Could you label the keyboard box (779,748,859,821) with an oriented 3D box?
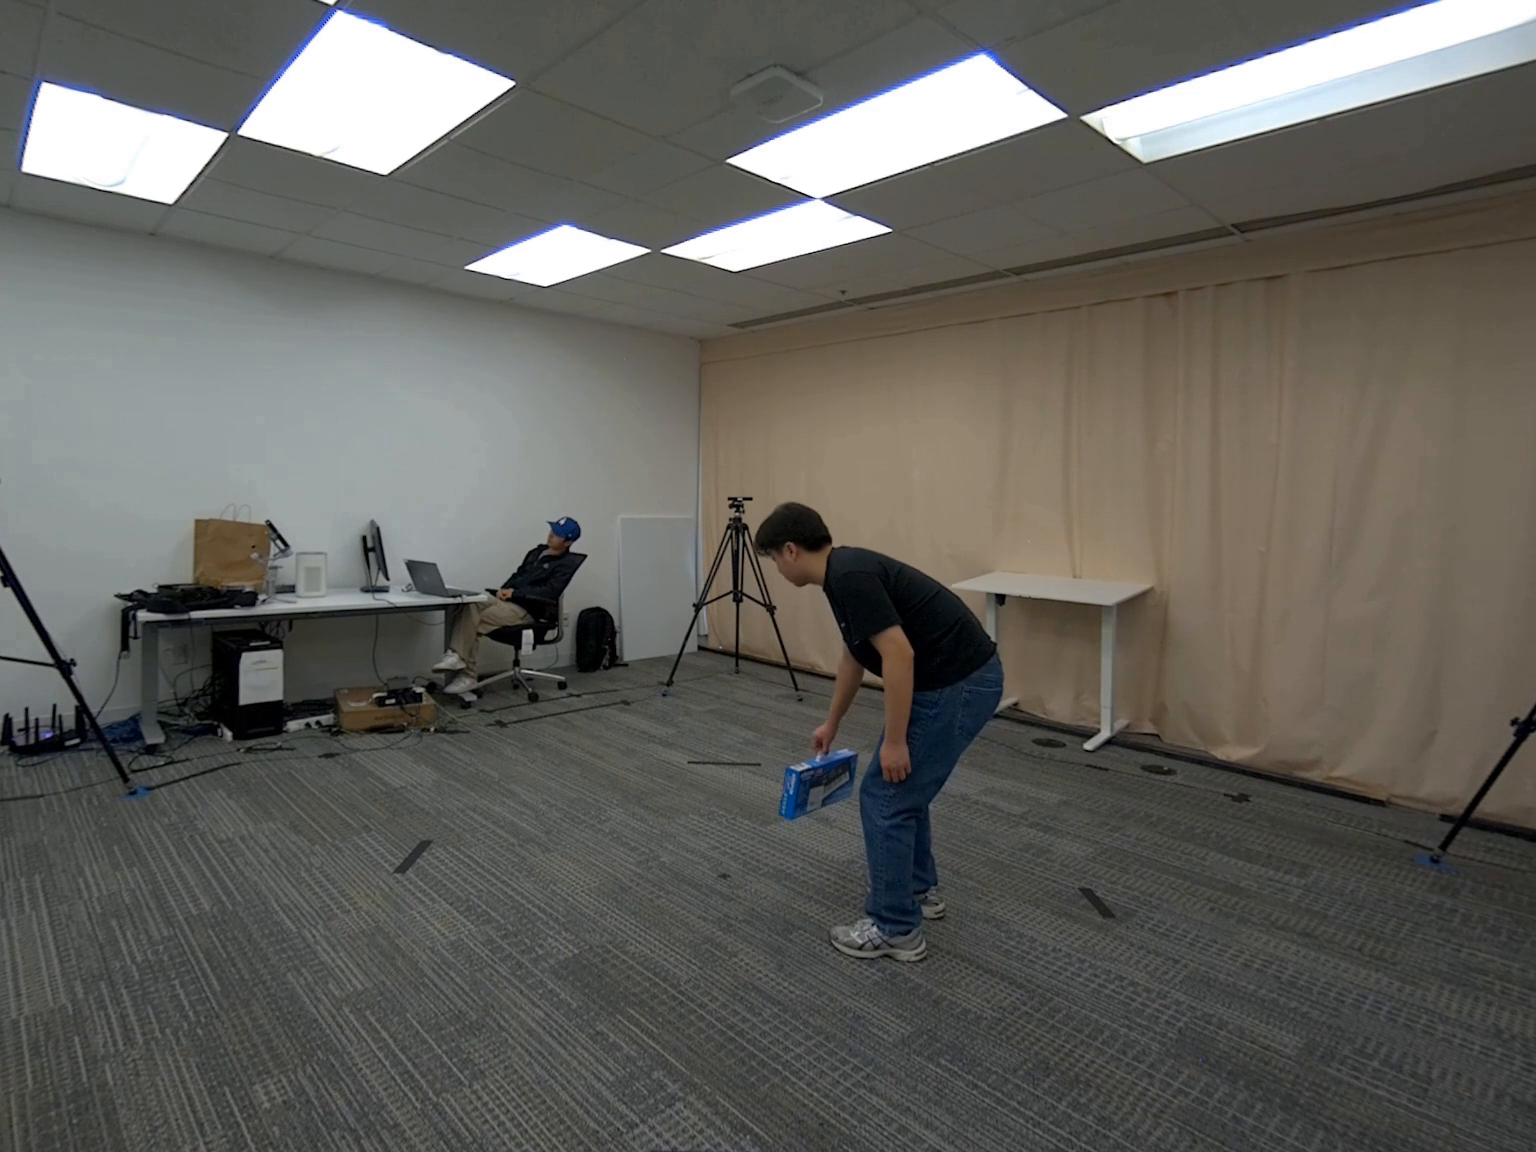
[{"bbox_3d":[0.189,0.759,3.082,0.060,0.176,0.426,9,3,34],"label":"keyboard box"}]
